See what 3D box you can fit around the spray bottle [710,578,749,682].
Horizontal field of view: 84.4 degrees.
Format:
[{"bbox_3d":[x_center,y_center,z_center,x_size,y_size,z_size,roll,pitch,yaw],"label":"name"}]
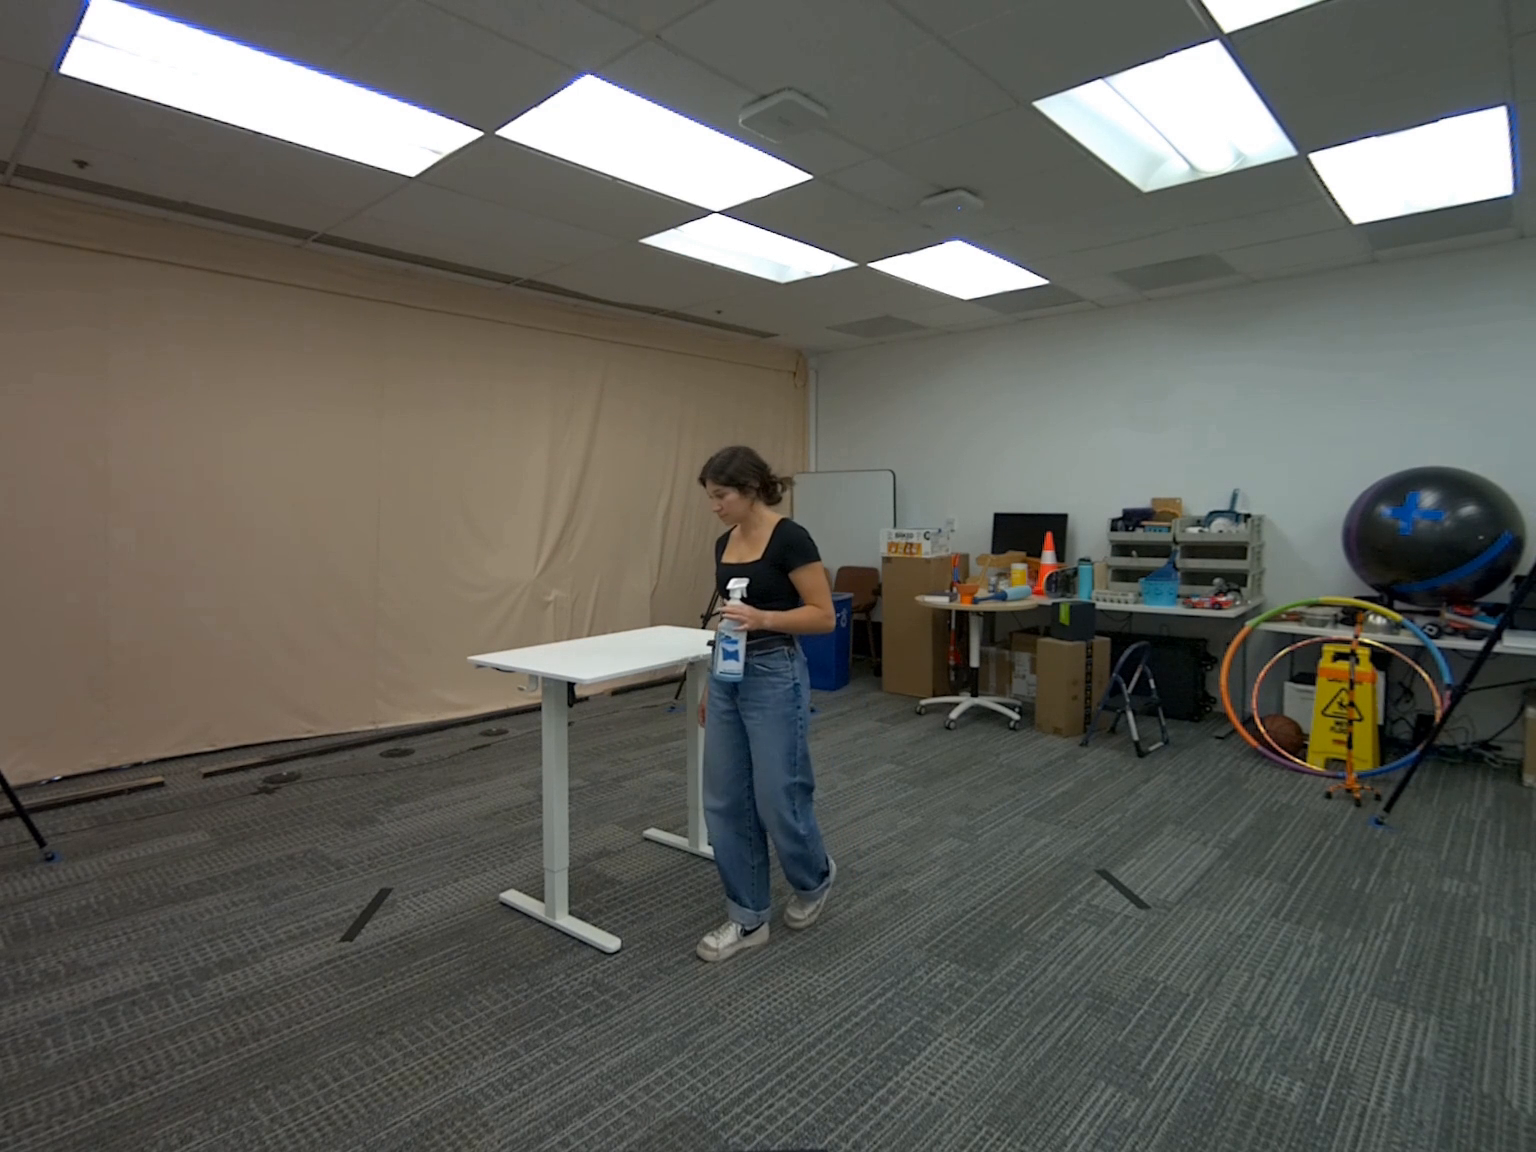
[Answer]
[{"bbox_3d":[-0.104,0.154,2.454,0.087,0.297,0.089,7,0,-28],"label":"spray bottle"}]
